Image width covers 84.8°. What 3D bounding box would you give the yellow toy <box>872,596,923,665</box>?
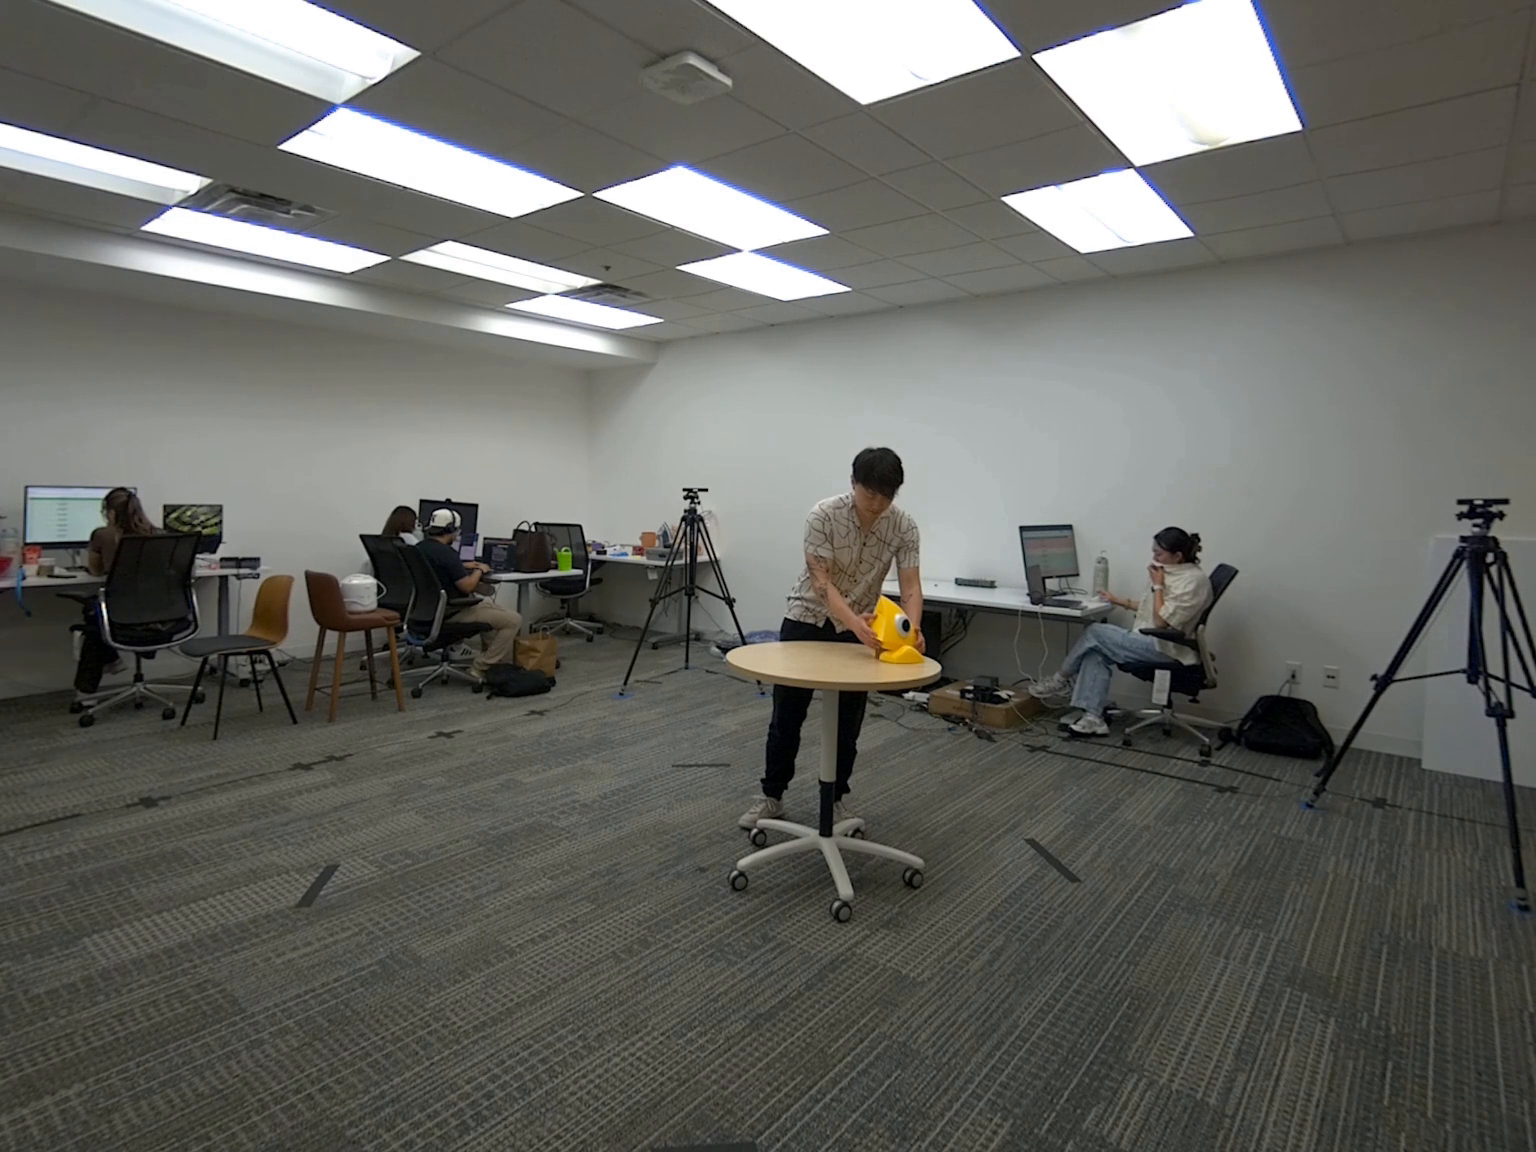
[{"bbox_3d":[0.465,0.179,3.128,0.191,0.230,0.208,-2,3,-13],"label":"yellow toy"}]
